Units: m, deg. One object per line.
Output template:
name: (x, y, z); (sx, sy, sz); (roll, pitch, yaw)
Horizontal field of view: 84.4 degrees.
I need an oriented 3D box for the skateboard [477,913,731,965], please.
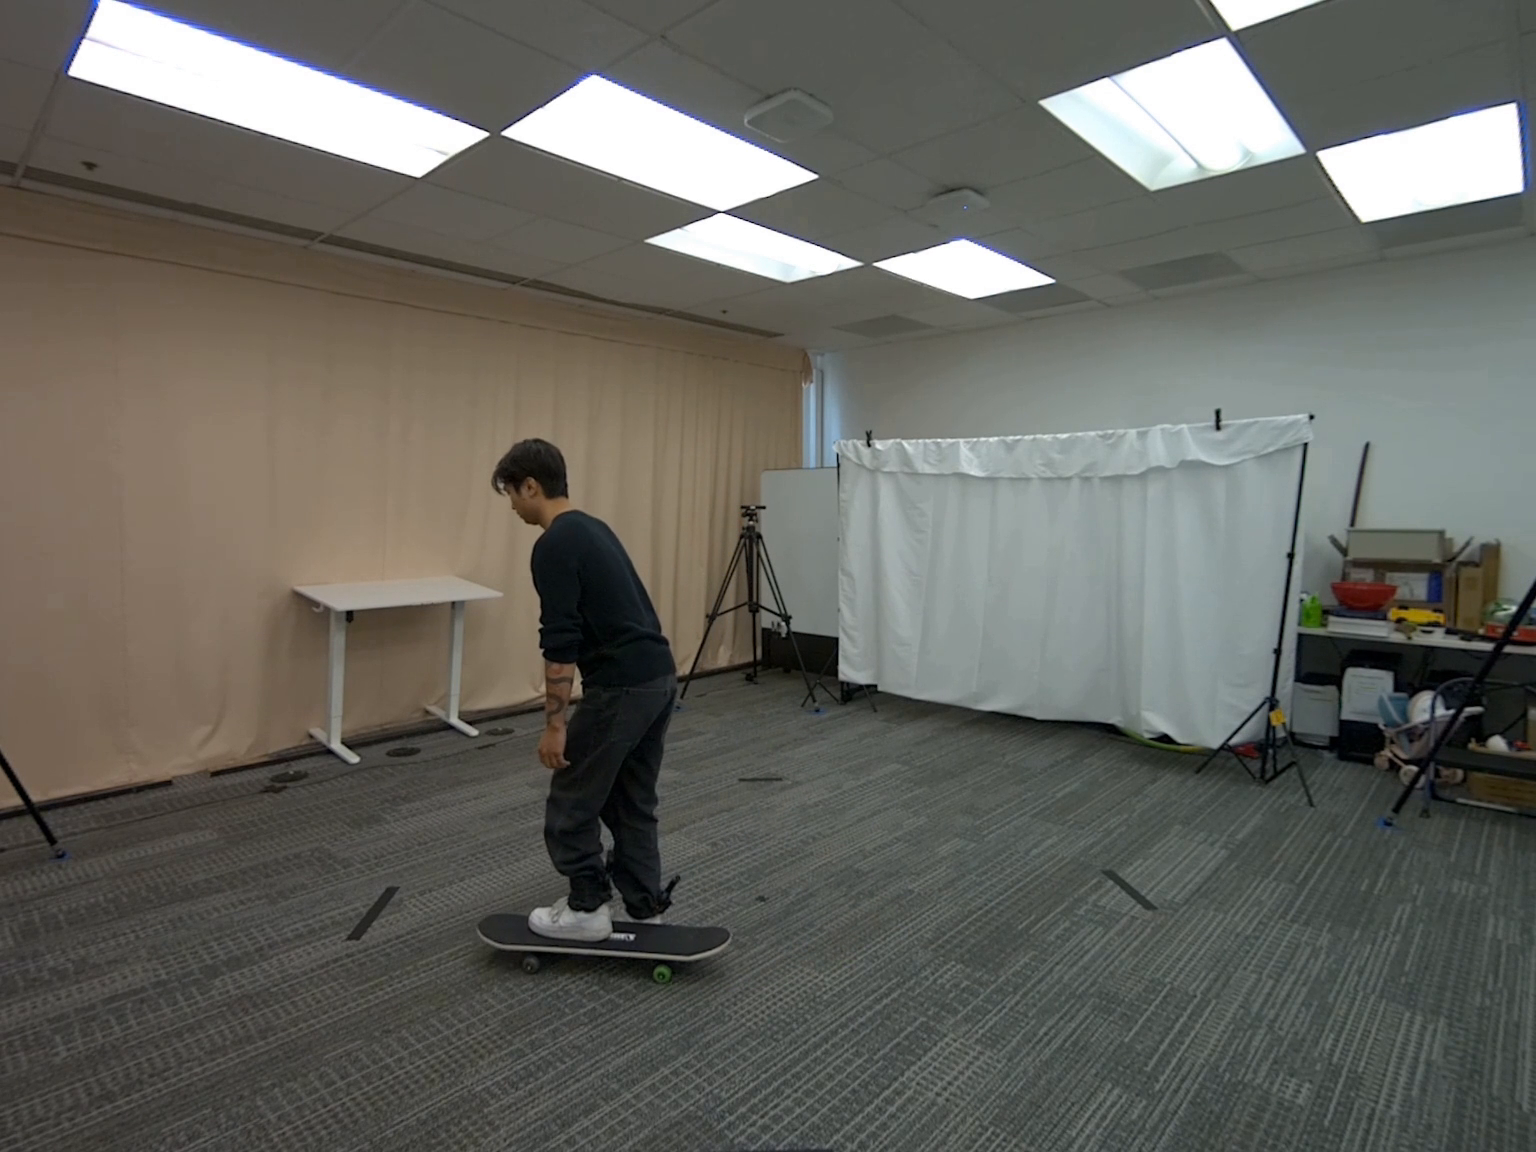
skateboard: (-0.493, 1.124, 2.558); (0.791, 0.110, 0.192); (-2, 4, 7)
